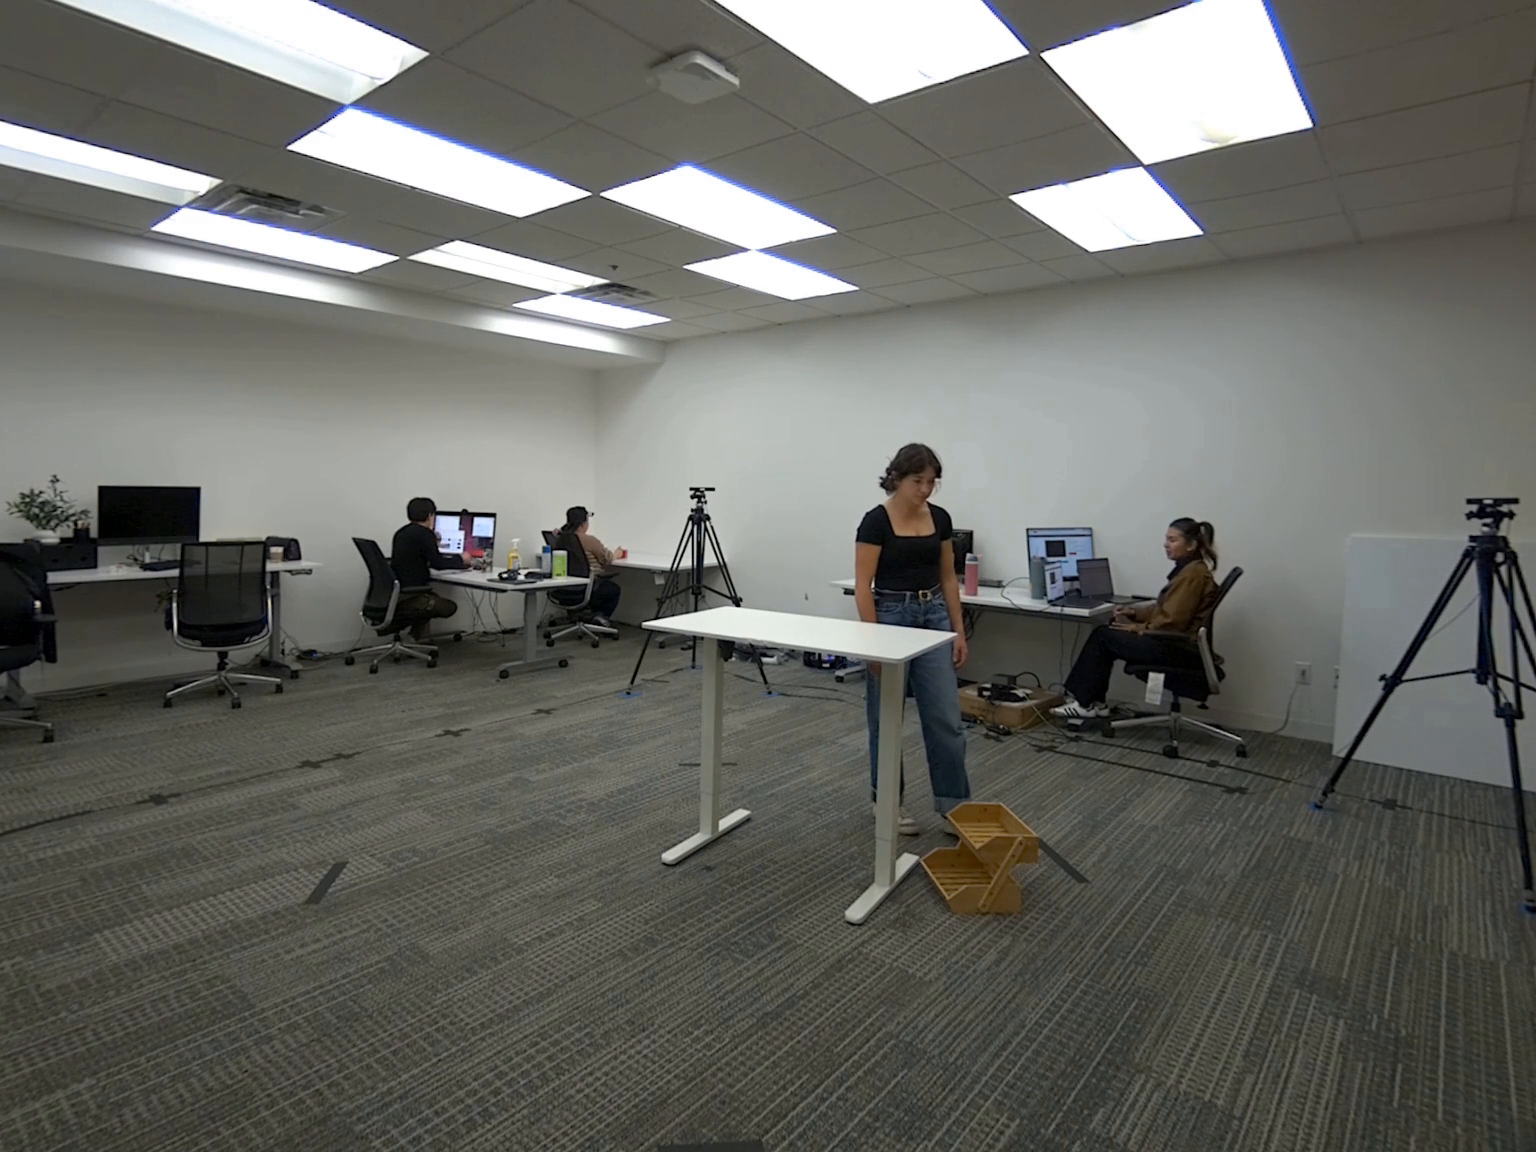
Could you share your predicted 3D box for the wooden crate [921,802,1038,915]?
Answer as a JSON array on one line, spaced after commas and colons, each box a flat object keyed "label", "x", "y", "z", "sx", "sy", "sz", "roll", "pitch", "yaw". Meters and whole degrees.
[{"label": "wooden crate", "x": 0.700, "y": 0.958, "z": 2.978, "sx": 0.300, "sy": 0.272, "sz": 0.328, "roll": 1, "pitch": 4, "yaw": -7}]
